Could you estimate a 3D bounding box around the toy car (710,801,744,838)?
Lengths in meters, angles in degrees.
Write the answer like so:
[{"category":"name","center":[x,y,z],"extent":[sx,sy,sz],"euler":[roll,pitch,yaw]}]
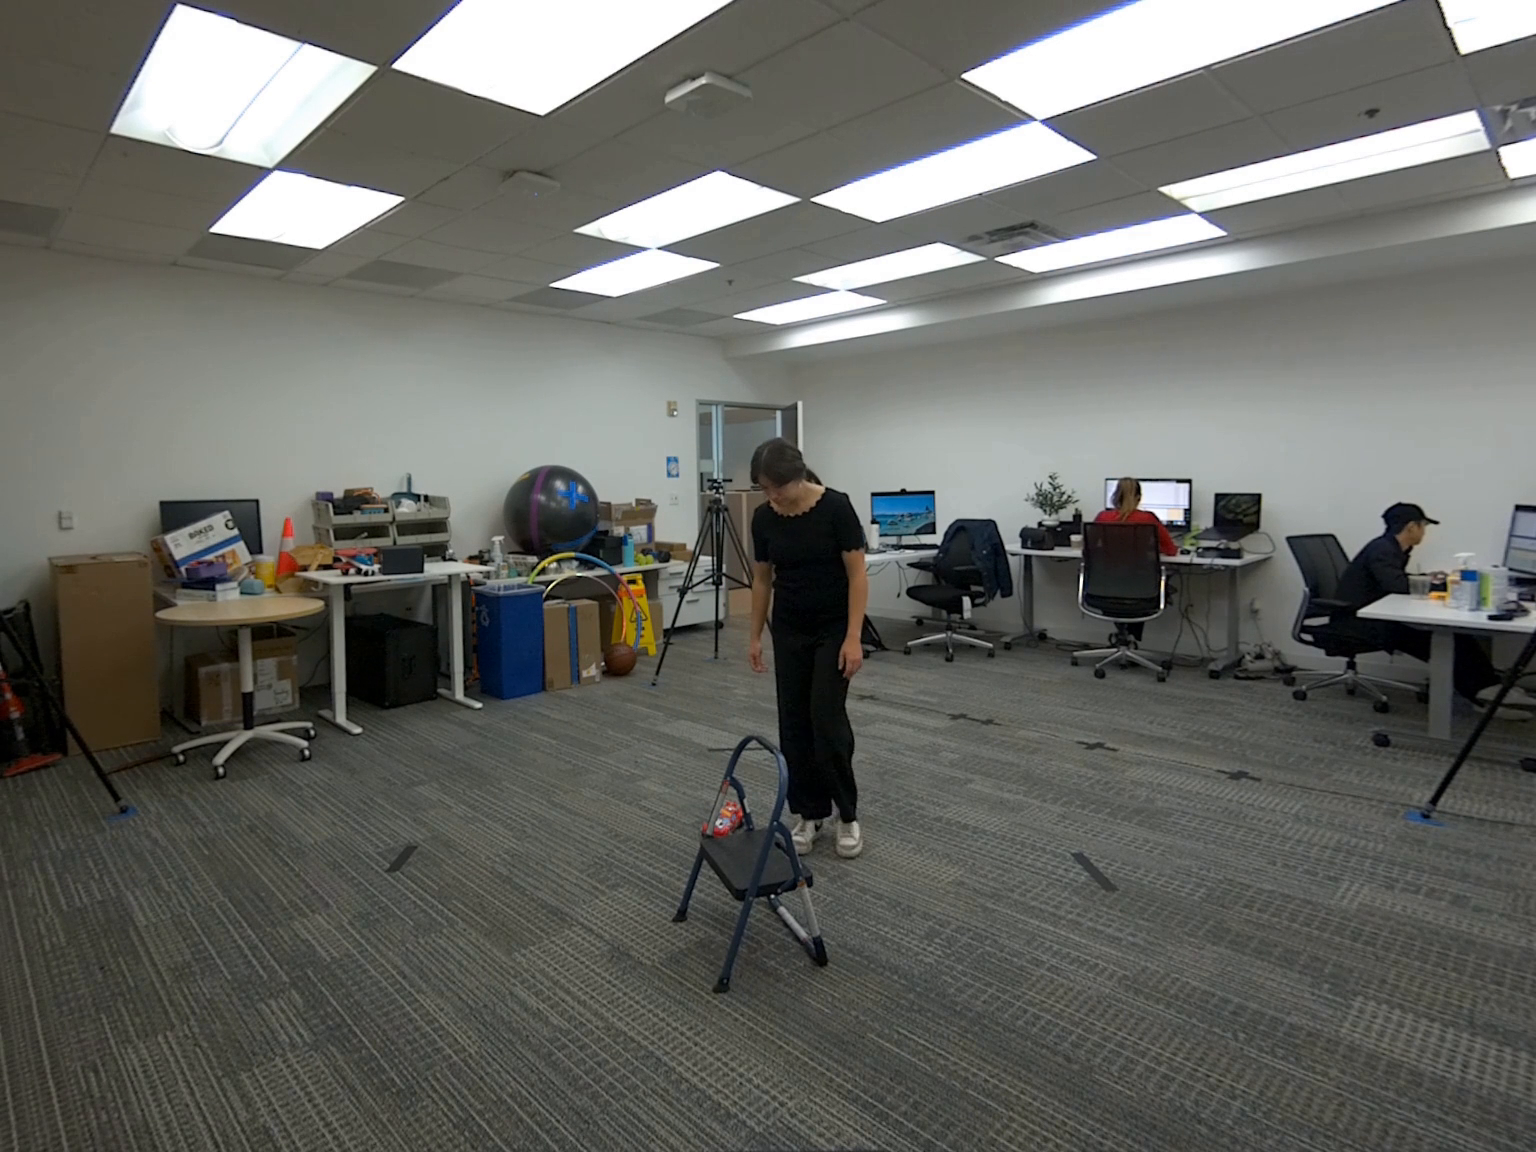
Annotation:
[{"category":"toy car","center":[-0.164,0.981,3.411],"extent":[0.132,0.082,0.253],"euler":[-3,15,19]}]
